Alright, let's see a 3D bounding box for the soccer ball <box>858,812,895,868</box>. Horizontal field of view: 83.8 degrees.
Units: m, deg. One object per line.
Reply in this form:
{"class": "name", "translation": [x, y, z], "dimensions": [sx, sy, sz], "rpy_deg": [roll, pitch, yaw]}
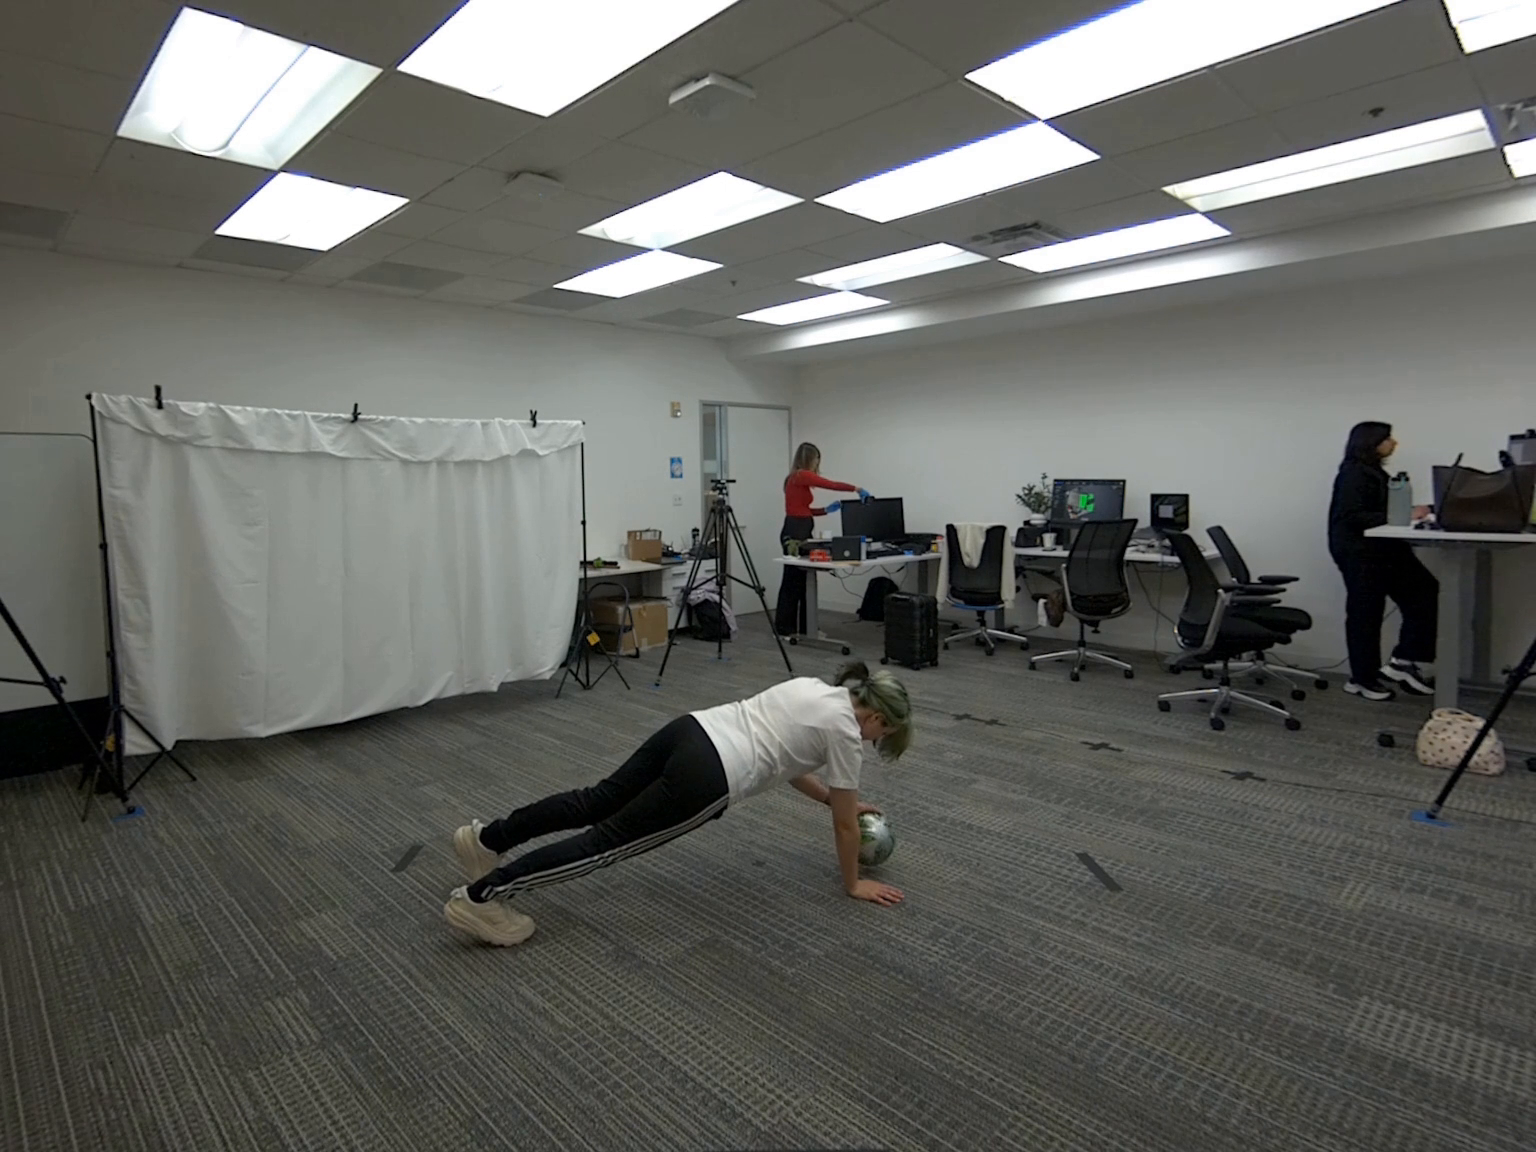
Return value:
{"class": "soccer ball", "translation": [0.352, 0.922, 3.044], "dimensions": [0.187, 0.187, 0.188], "rpy_deg": [-1, 5, -2]}
